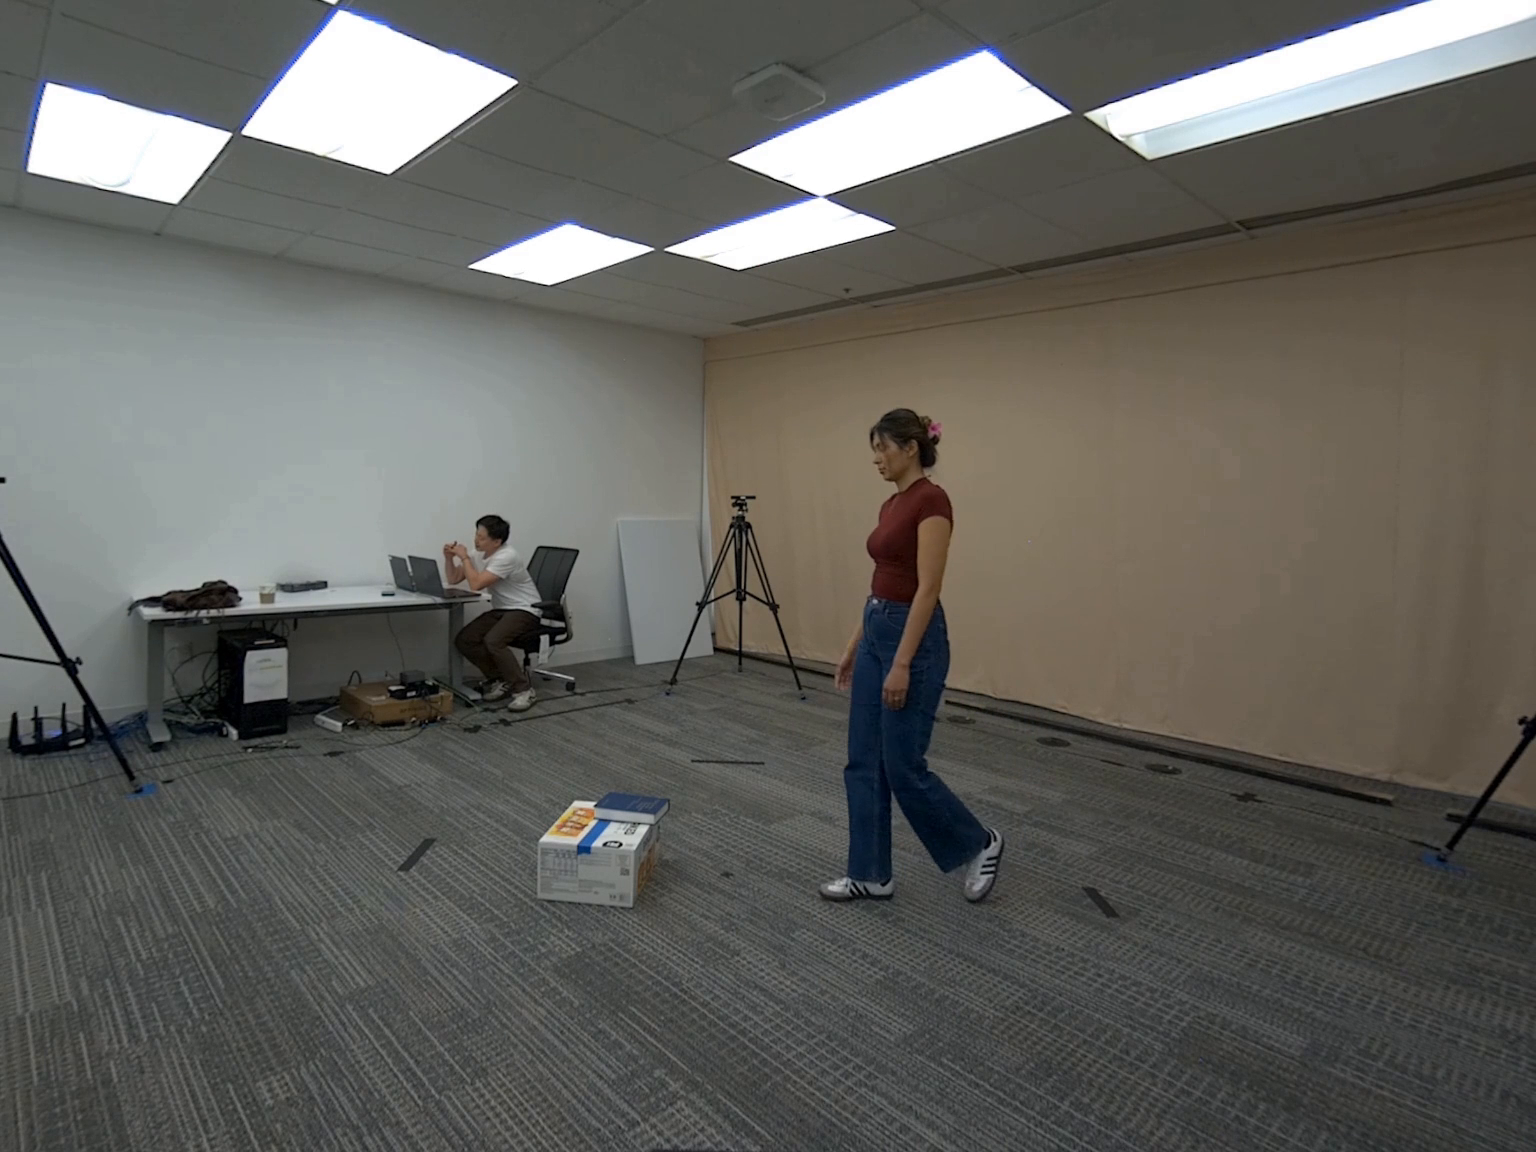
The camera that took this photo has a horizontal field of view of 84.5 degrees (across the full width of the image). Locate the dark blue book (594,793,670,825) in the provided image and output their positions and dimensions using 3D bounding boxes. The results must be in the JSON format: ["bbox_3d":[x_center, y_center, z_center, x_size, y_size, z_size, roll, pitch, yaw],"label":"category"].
[{"bbox_3d":[-0.509,0.858,3.144,0.248,0.045,0.162,2,7,14],"label":"dark blue book"}]
